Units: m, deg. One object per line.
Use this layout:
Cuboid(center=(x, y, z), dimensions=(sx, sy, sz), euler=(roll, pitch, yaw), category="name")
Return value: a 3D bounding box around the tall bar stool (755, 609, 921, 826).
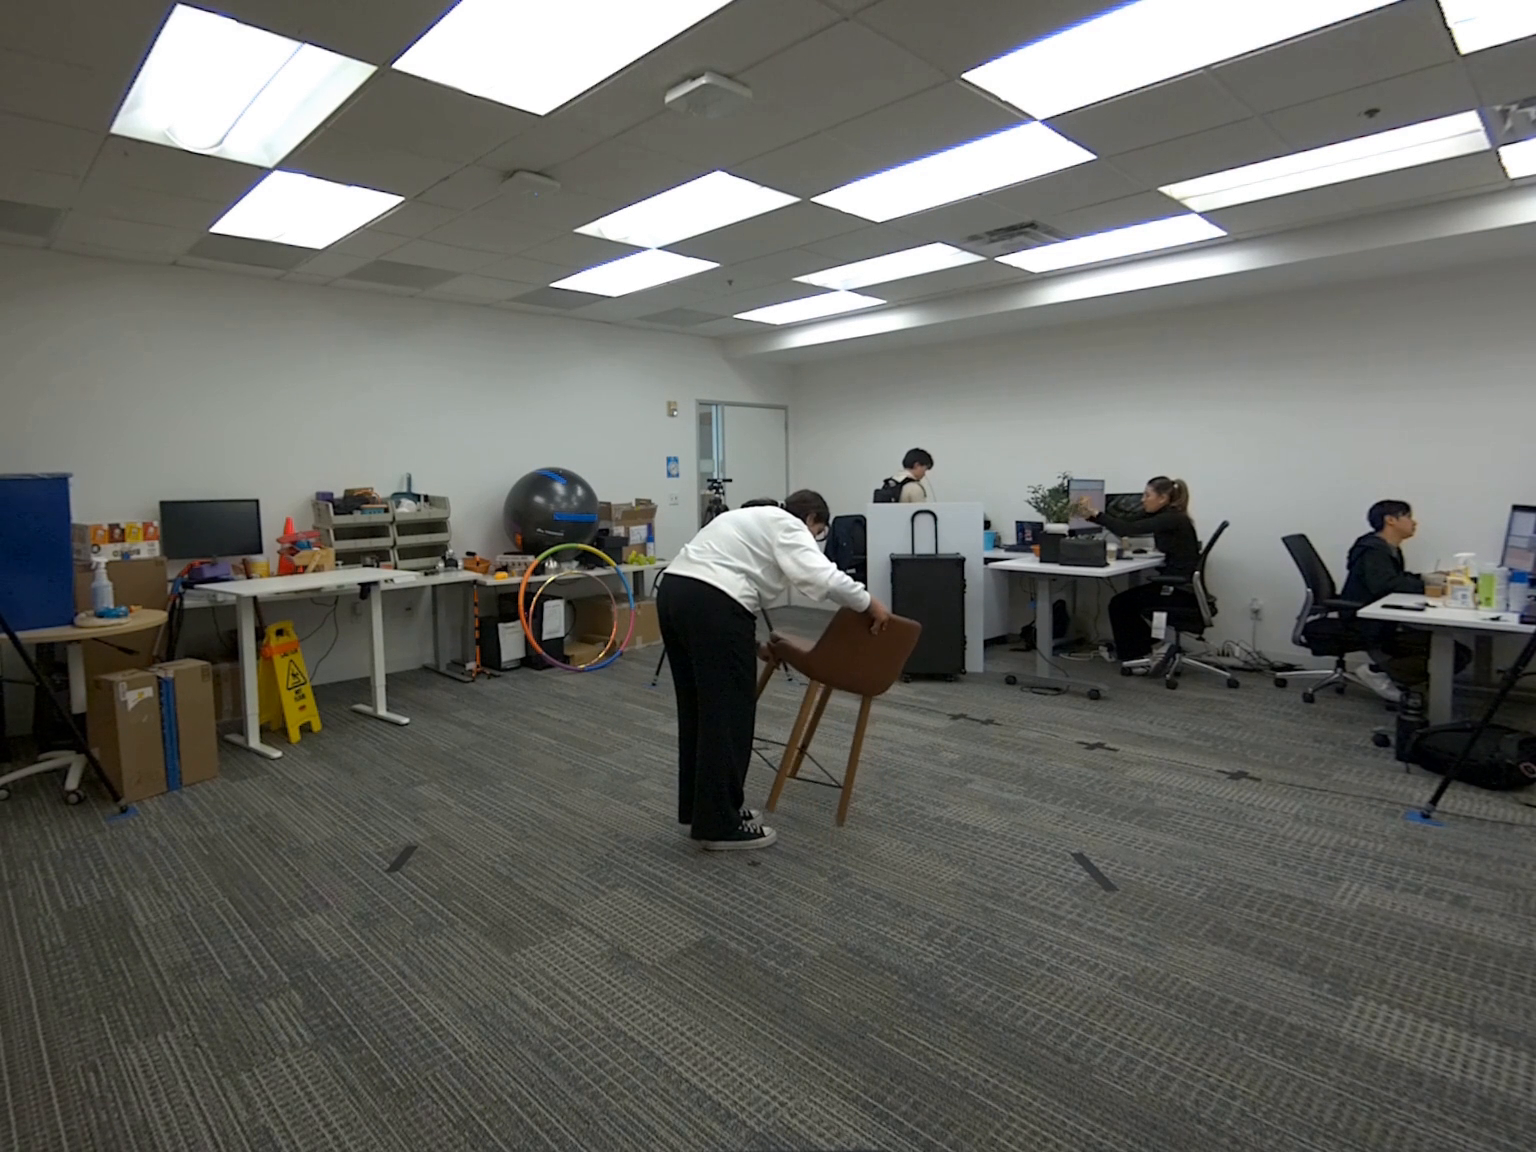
Cuboid(center=(0.209, 0.496, 3.524), dimensions=(0.443, 0.887, 0.483), euler=(19, 6, -29), category="tall bar stool")
